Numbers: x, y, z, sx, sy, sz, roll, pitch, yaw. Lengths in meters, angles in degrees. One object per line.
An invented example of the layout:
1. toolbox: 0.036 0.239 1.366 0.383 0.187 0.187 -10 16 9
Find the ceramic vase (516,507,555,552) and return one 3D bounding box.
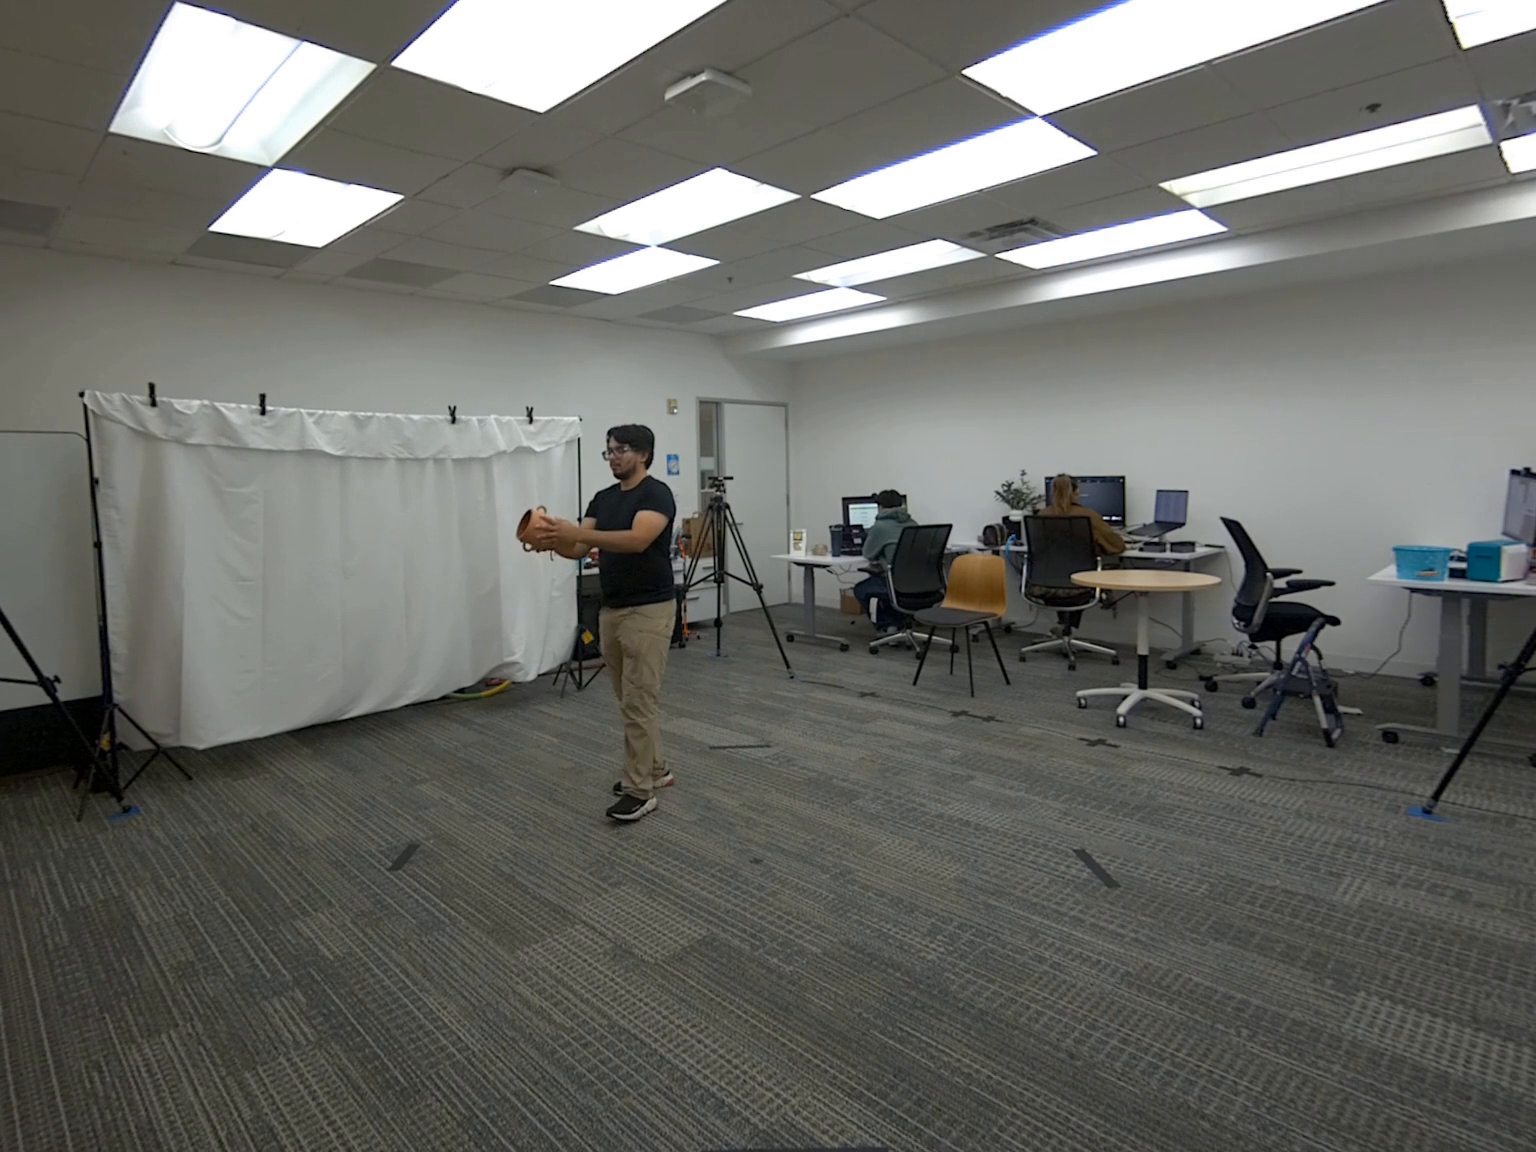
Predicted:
1. ceramic vase: -0.899 -0.171 3.456 0.212 0.158 0.139 24 27 -31
